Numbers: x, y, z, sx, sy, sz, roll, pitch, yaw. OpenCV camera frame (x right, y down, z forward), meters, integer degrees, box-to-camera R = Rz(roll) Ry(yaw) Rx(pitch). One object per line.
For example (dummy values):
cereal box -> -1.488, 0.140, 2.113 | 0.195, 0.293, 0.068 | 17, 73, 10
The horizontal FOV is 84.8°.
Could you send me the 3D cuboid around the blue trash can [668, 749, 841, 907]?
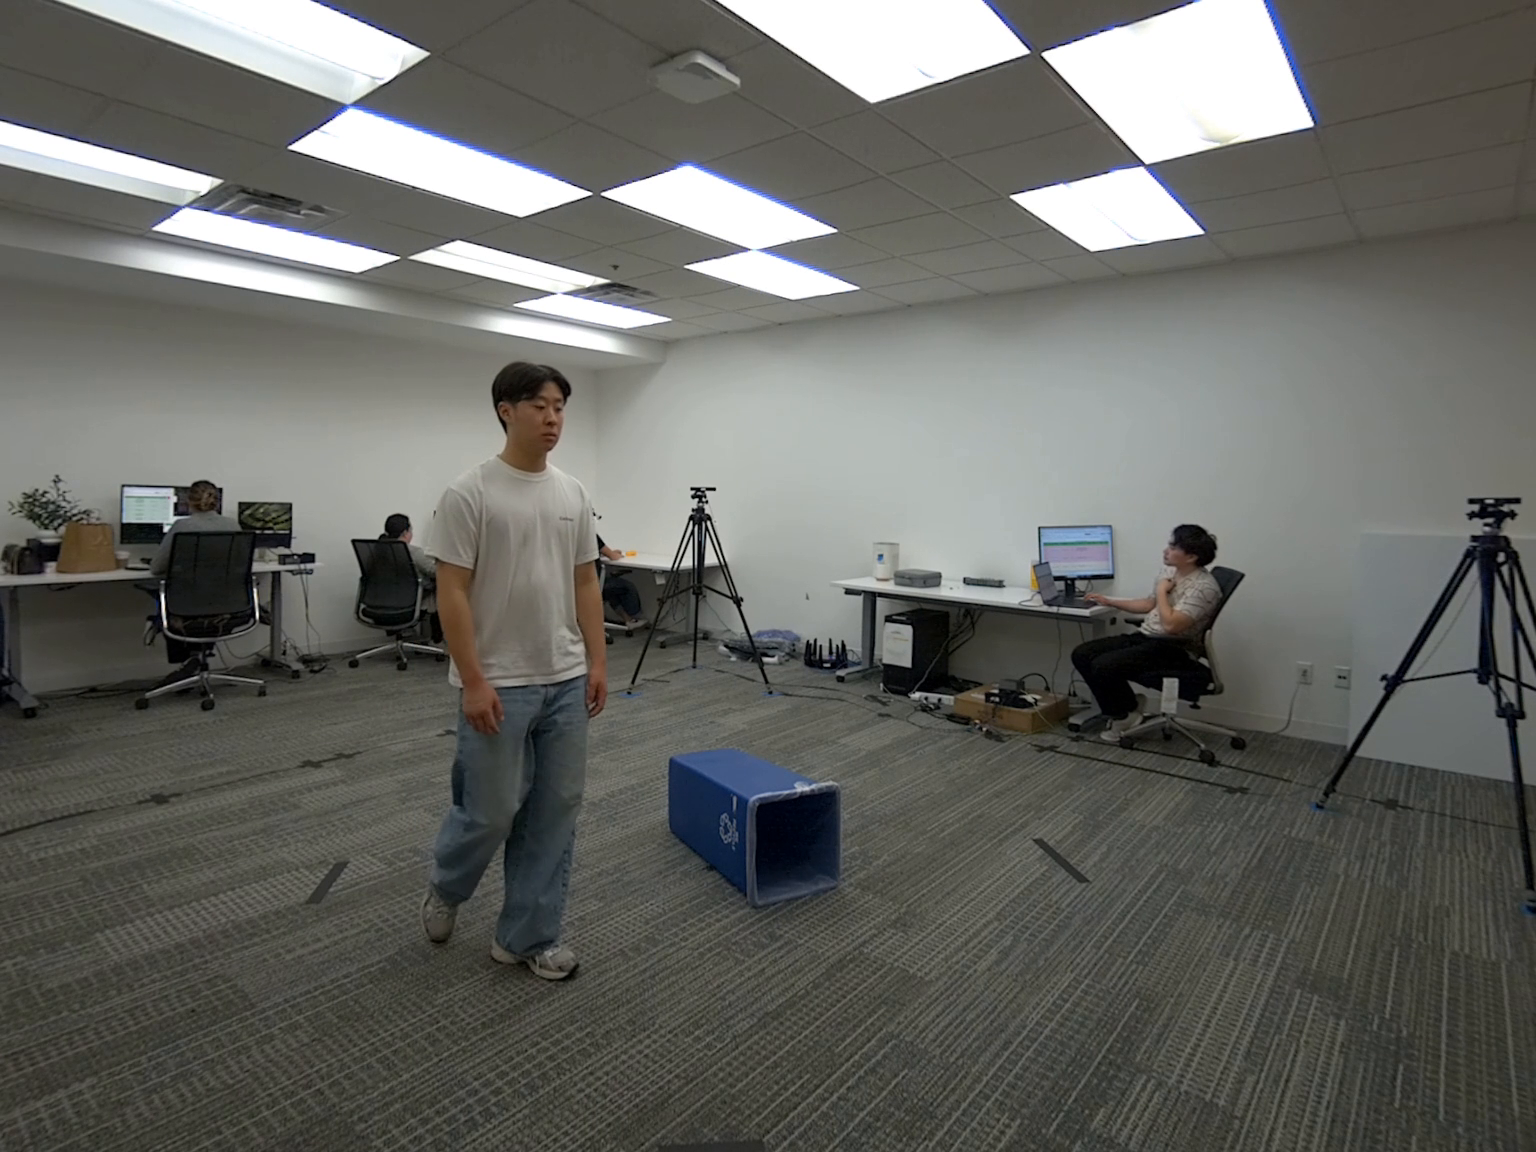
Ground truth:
blue trash can -> -0.101, 0.894, 3.197 | 0.364, 0.377, 0.734 | -1, 3, -32
